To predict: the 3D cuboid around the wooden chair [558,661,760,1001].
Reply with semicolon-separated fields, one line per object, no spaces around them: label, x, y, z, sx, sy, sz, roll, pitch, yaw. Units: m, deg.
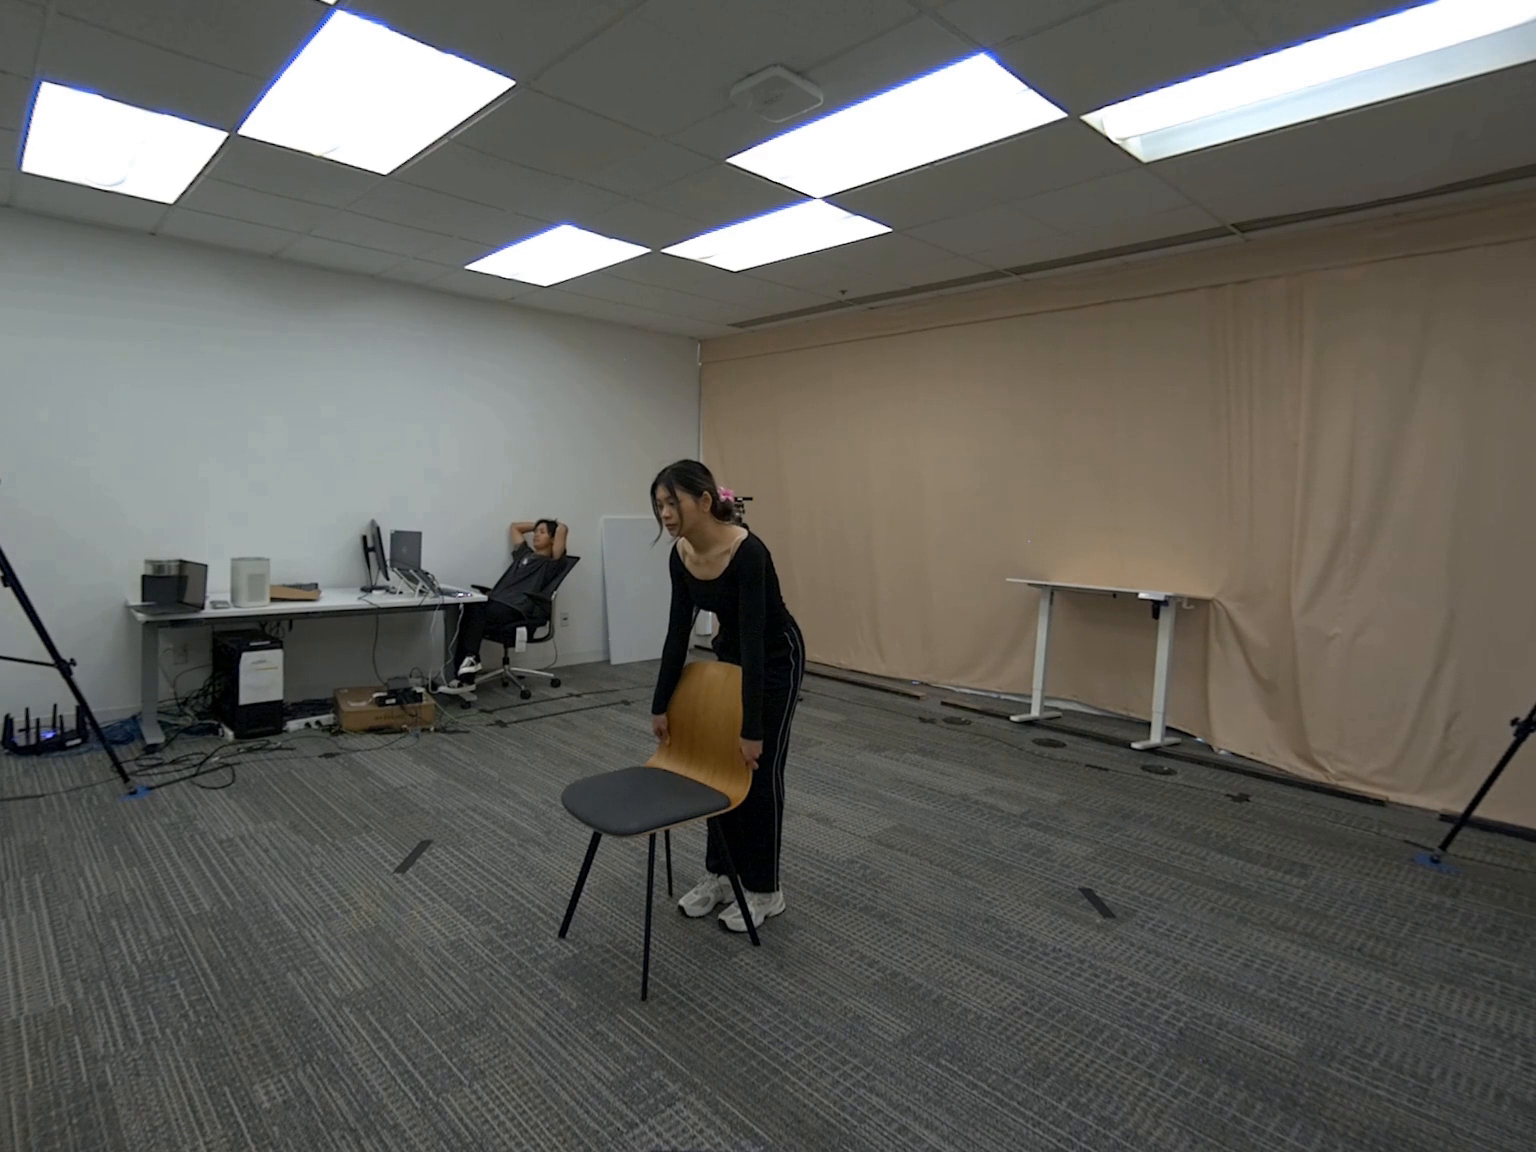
wooden chair;-0.341;0.720;2.593;0.510;0.877;0.490;5;0;-44
